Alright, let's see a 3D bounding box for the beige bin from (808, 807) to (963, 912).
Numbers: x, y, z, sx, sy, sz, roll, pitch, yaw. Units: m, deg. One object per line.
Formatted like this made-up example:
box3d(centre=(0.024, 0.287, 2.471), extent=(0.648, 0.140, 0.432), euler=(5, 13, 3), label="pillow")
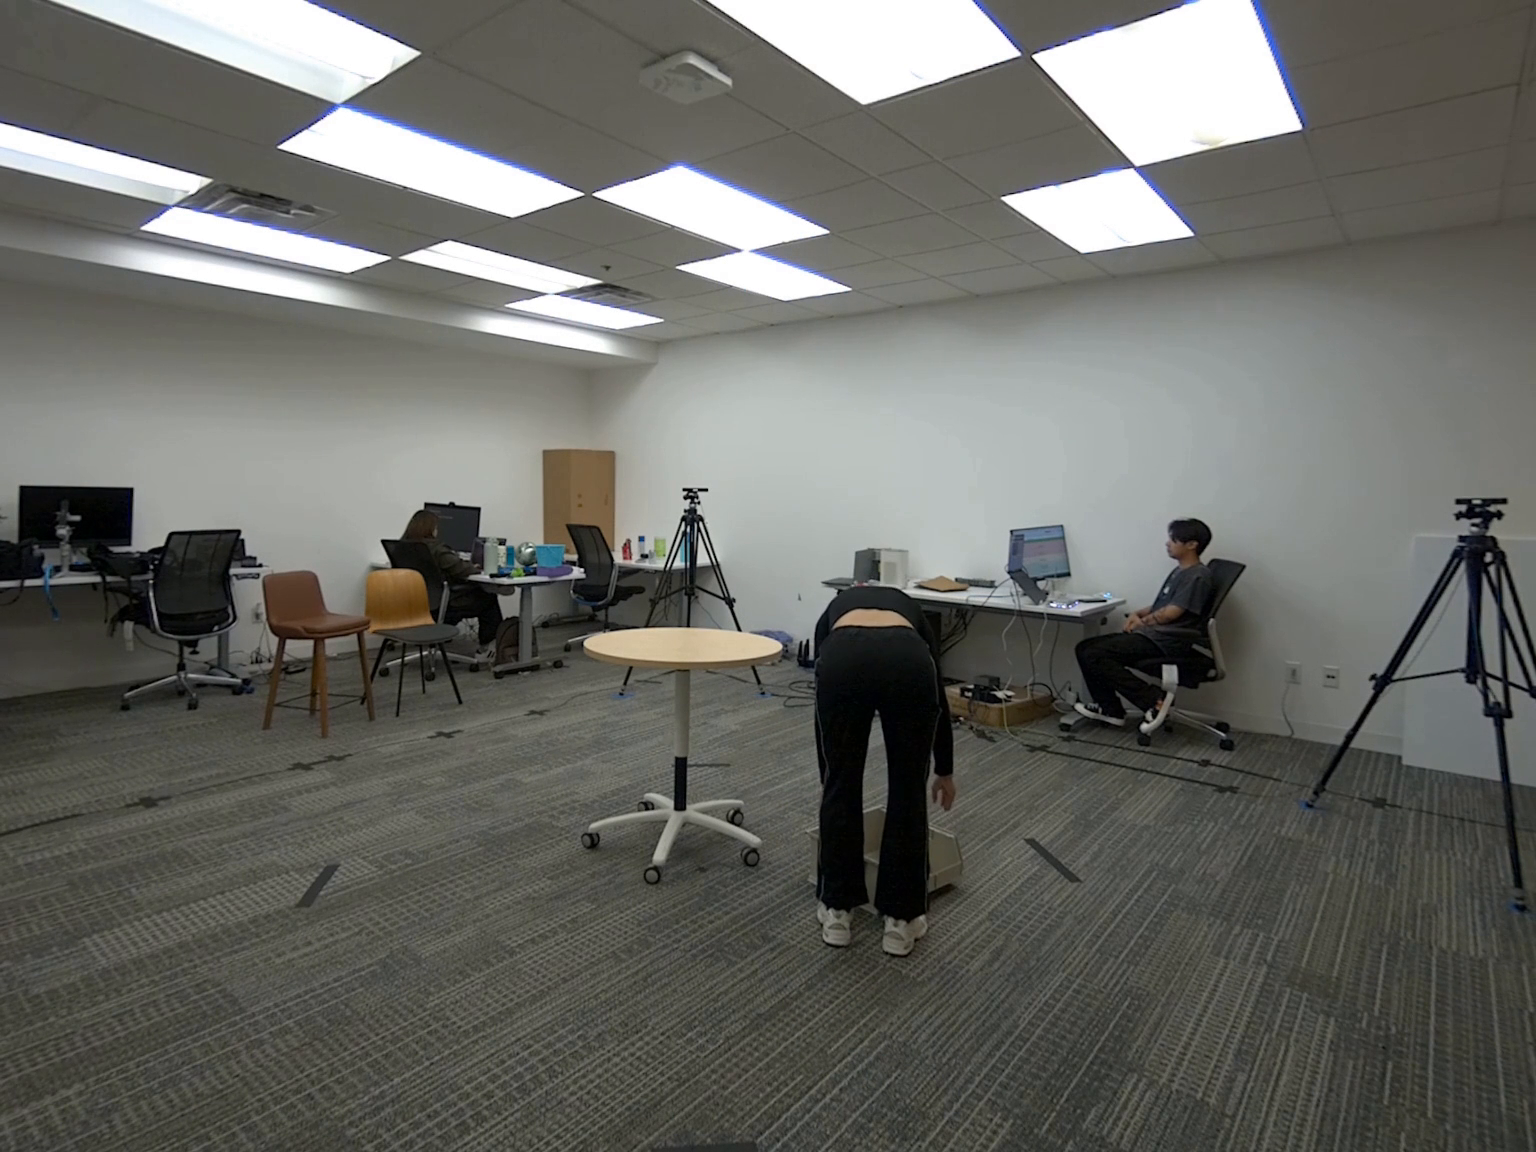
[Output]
box3d(centre=(0.409, 0.998, 3.024), extent=(0.410, 0.188, 0.390), euler=(-4, 6, -41), label="beige bin")
